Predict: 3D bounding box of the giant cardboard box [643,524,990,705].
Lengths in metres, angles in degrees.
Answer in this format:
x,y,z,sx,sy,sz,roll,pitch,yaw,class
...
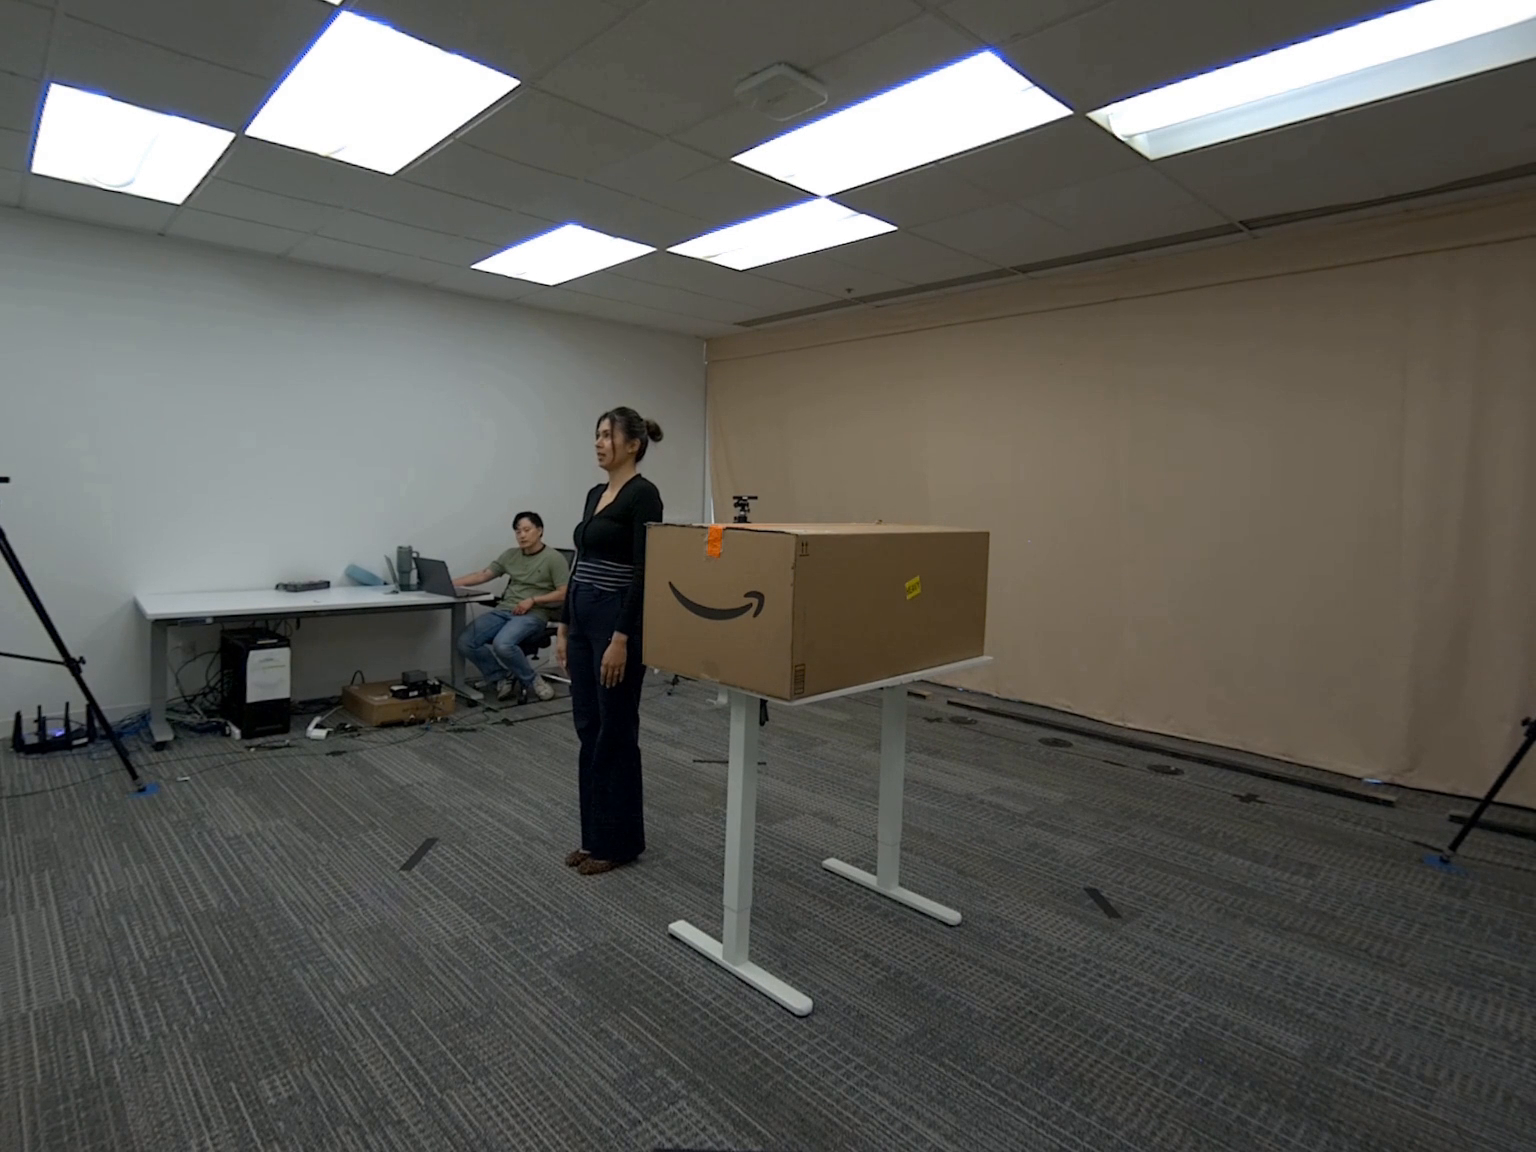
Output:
x,y,z,sx,sy,sz,roll,pitch,yaw,class
0.170,0.056,2.677,0.592,0.425,1.002,7,7,41,giant cardboard box
